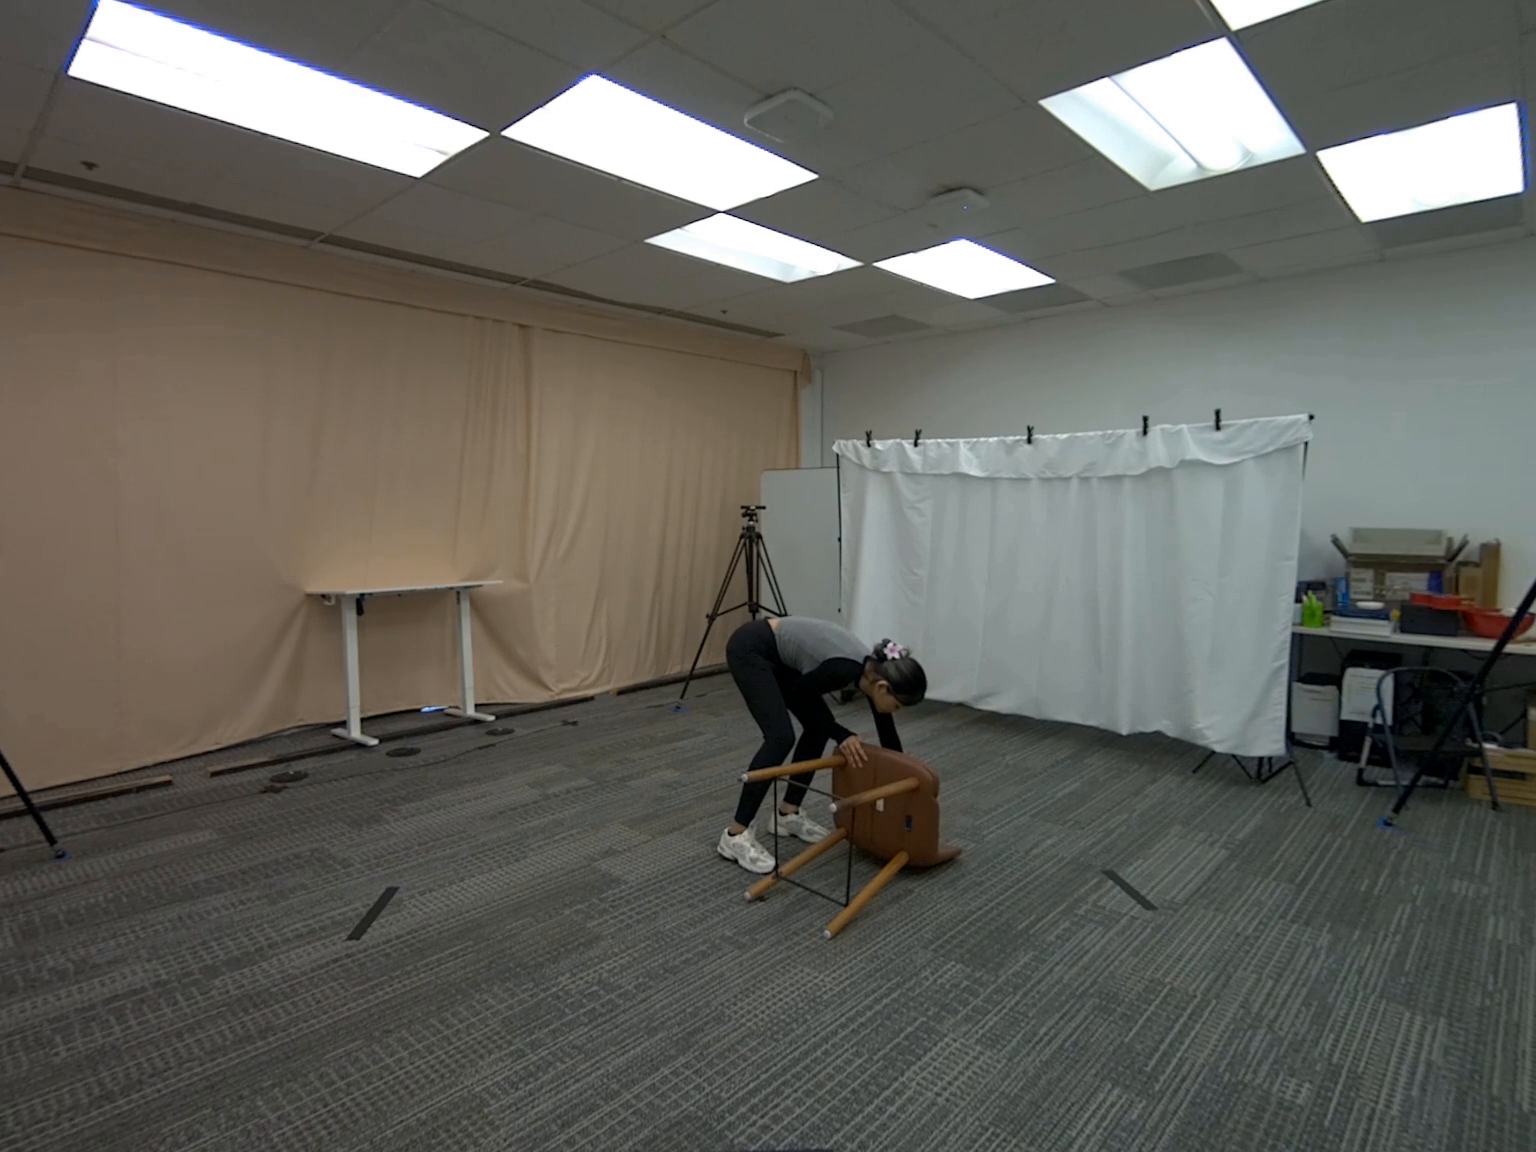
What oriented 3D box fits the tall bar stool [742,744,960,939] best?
[{"bbox_3d":[0.354,0.898,3.117,0.472,0.466,0.862,5,6,42],"label":"tall bar stool"}]
